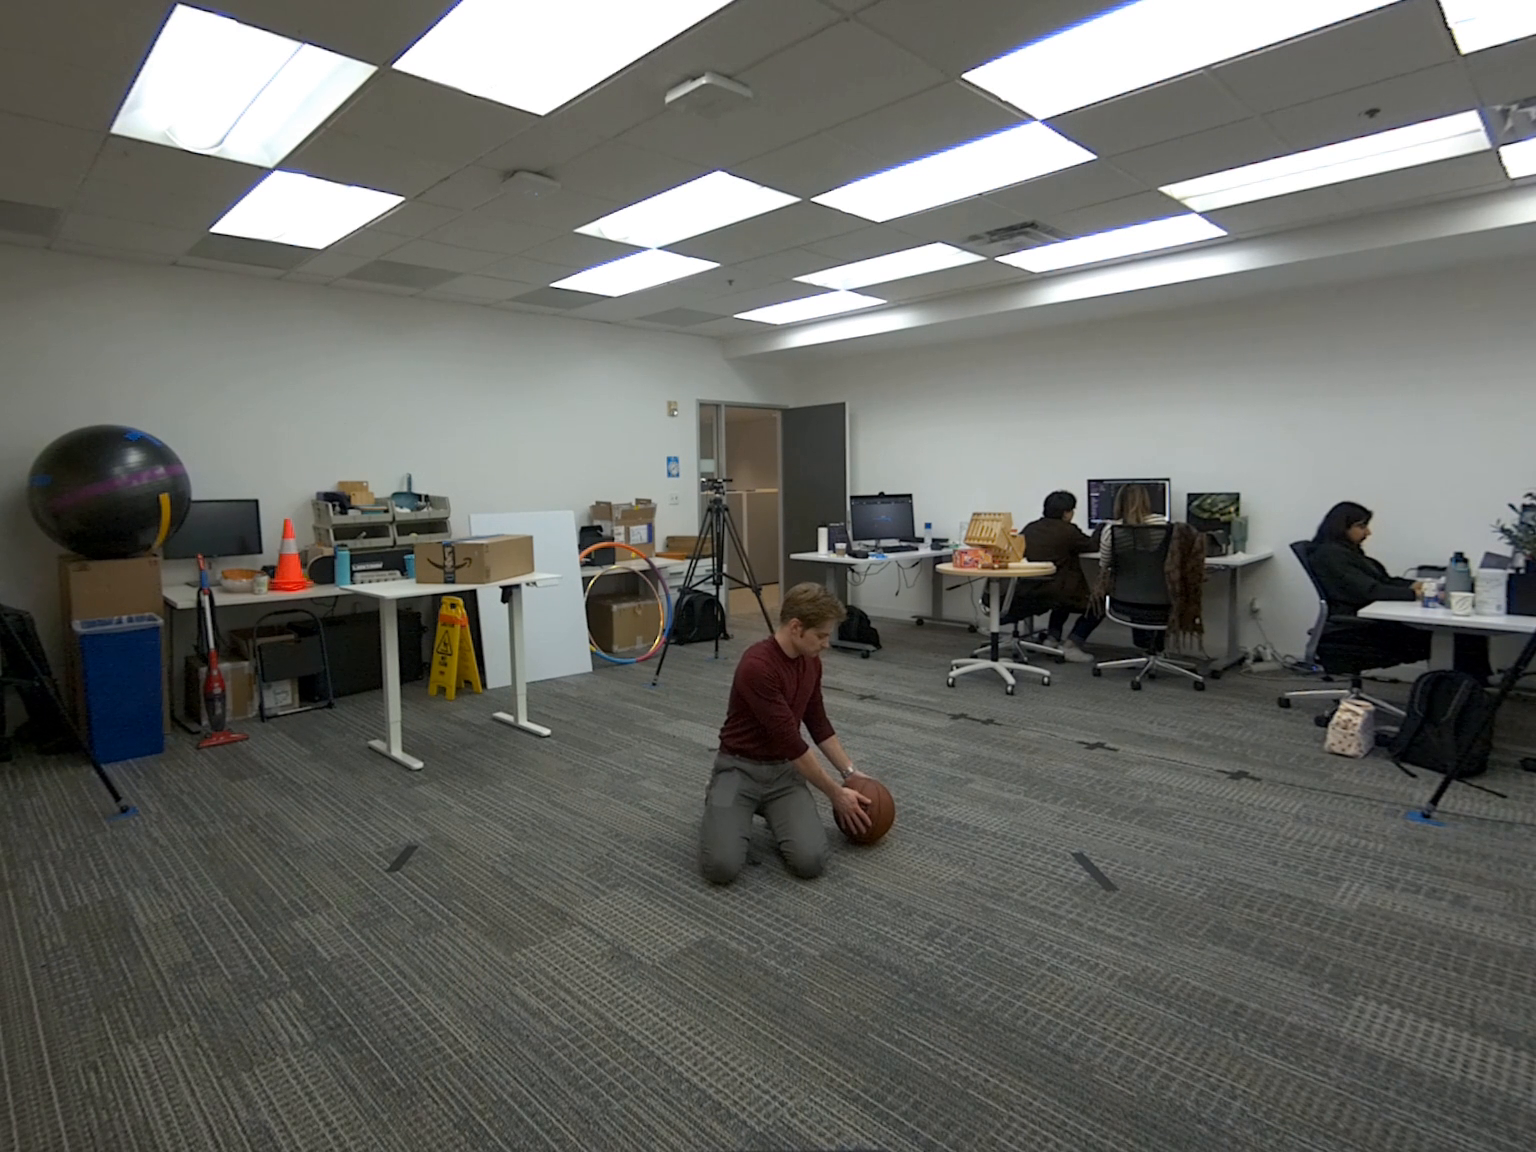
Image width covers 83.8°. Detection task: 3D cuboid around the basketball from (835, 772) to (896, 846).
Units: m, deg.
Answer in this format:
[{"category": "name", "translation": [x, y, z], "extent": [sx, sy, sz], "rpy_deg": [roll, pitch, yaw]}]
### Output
[{"category": "basketball", "translation": [0.369, 0.891, 3.287], "extent": [0.236, 0.235, 0.237], "rpy_deg": [-1, 5, -2]}]
